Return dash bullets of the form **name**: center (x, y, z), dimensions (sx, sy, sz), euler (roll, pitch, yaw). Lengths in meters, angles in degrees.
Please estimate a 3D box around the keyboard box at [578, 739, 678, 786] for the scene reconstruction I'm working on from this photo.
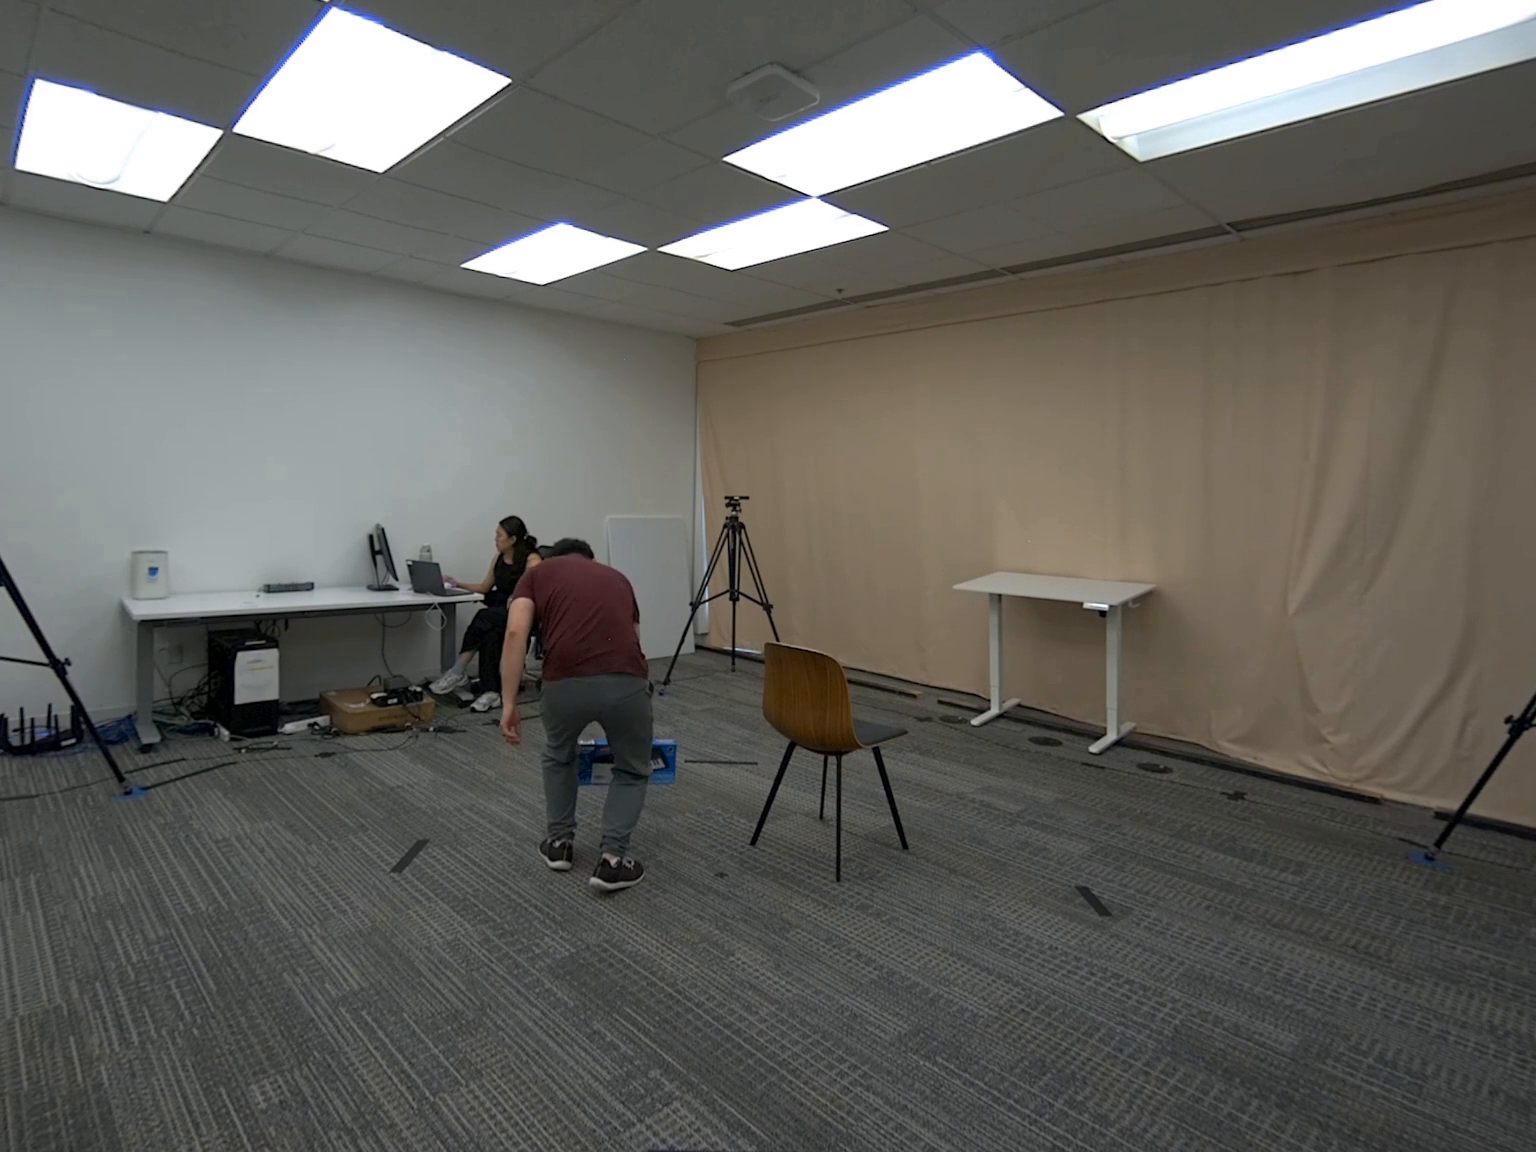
- **keyboard box**: center (-0.599, 0.760, 3.445), dimensions (0.432, 0.175, 0.060), euler (2, 4, -12)
